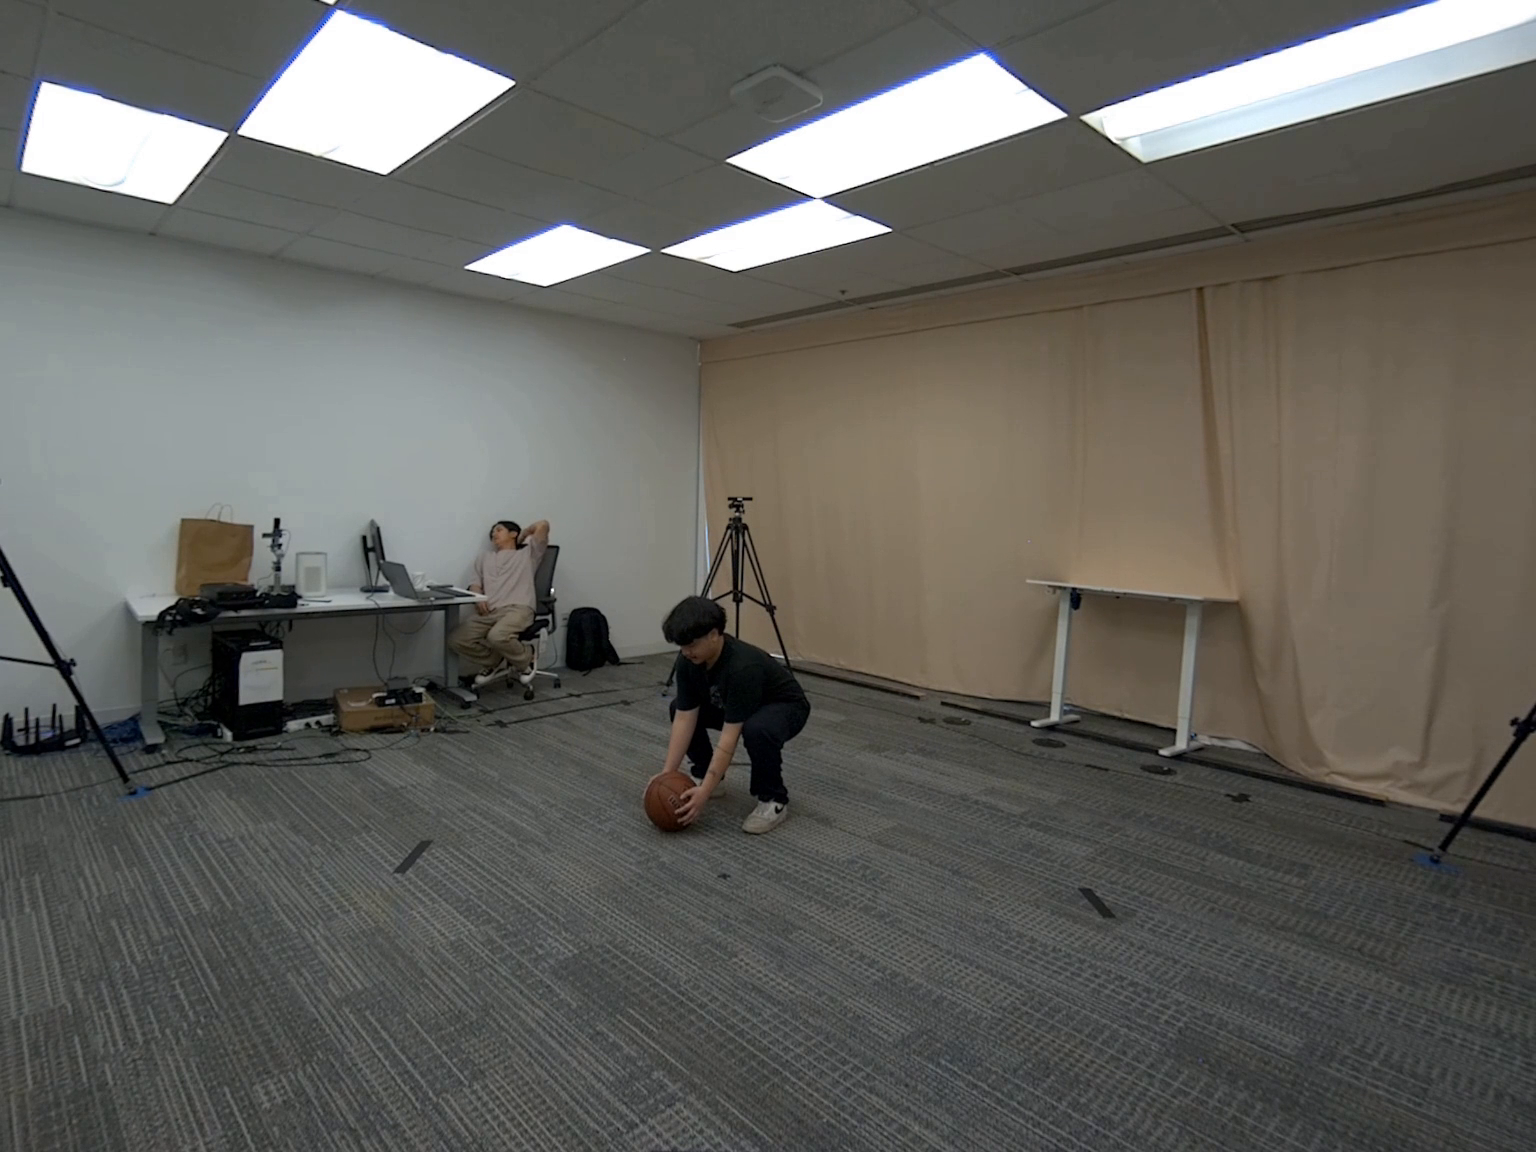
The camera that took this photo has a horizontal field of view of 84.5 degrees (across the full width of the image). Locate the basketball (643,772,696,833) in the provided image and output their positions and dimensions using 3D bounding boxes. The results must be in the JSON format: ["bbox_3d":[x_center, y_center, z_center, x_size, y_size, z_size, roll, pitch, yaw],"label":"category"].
[{"bbox_3d":[-0.429,0.948,3.544,0.236,0.235,0.237,1,4,-1],"label":"basketball"}]
